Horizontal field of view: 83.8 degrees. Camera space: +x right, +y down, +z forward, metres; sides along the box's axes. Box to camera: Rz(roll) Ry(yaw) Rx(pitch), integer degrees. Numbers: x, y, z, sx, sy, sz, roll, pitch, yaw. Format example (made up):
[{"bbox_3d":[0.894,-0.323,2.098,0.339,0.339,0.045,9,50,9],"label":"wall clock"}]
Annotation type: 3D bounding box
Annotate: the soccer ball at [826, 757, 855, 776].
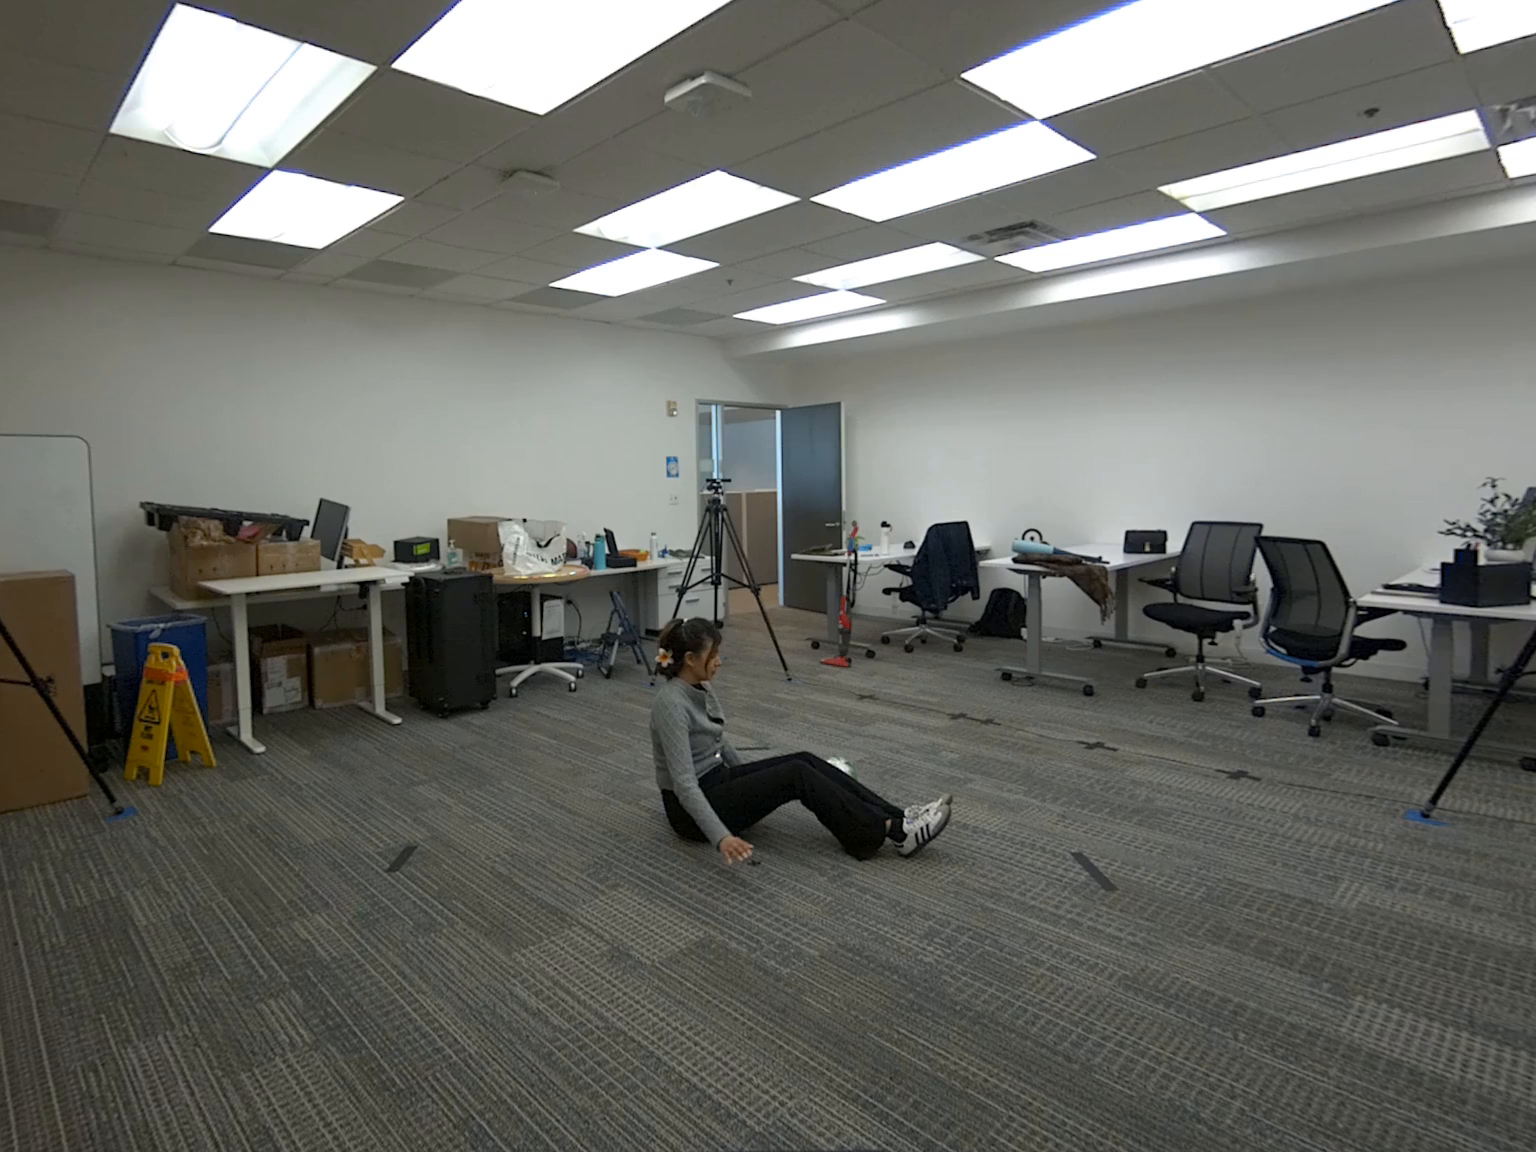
[{"bbox_3d":[0.293,0.874,3.696,0.187,0.187,0.188,-1,5,-2],"label":"soccer ball"}]
